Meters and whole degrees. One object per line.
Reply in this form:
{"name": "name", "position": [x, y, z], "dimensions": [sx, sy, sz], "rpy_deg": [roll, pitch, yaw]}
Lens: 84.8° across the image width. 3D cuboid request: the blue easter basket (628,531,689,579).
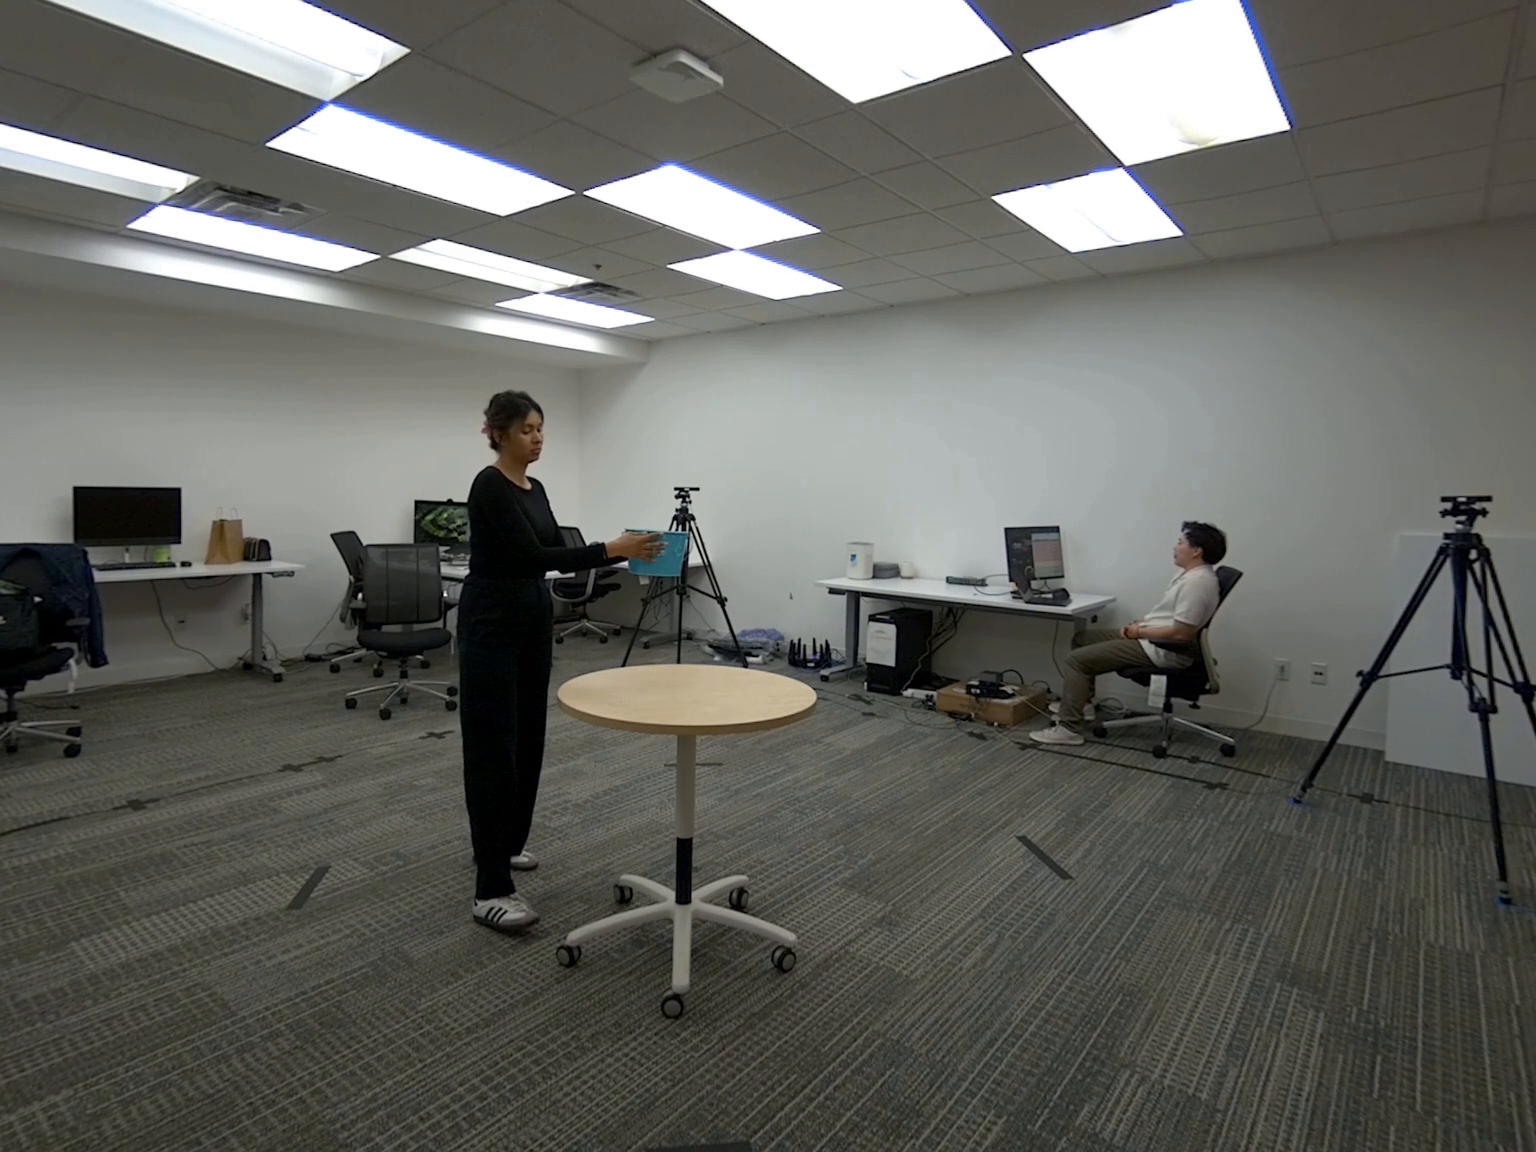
{"name": "blue easter basket", "position": [-0.409, -0.083, 2.970], "dimensions": [0.243, 0.155, 0.244], "rpy_deg": [3, 3, -2]}
